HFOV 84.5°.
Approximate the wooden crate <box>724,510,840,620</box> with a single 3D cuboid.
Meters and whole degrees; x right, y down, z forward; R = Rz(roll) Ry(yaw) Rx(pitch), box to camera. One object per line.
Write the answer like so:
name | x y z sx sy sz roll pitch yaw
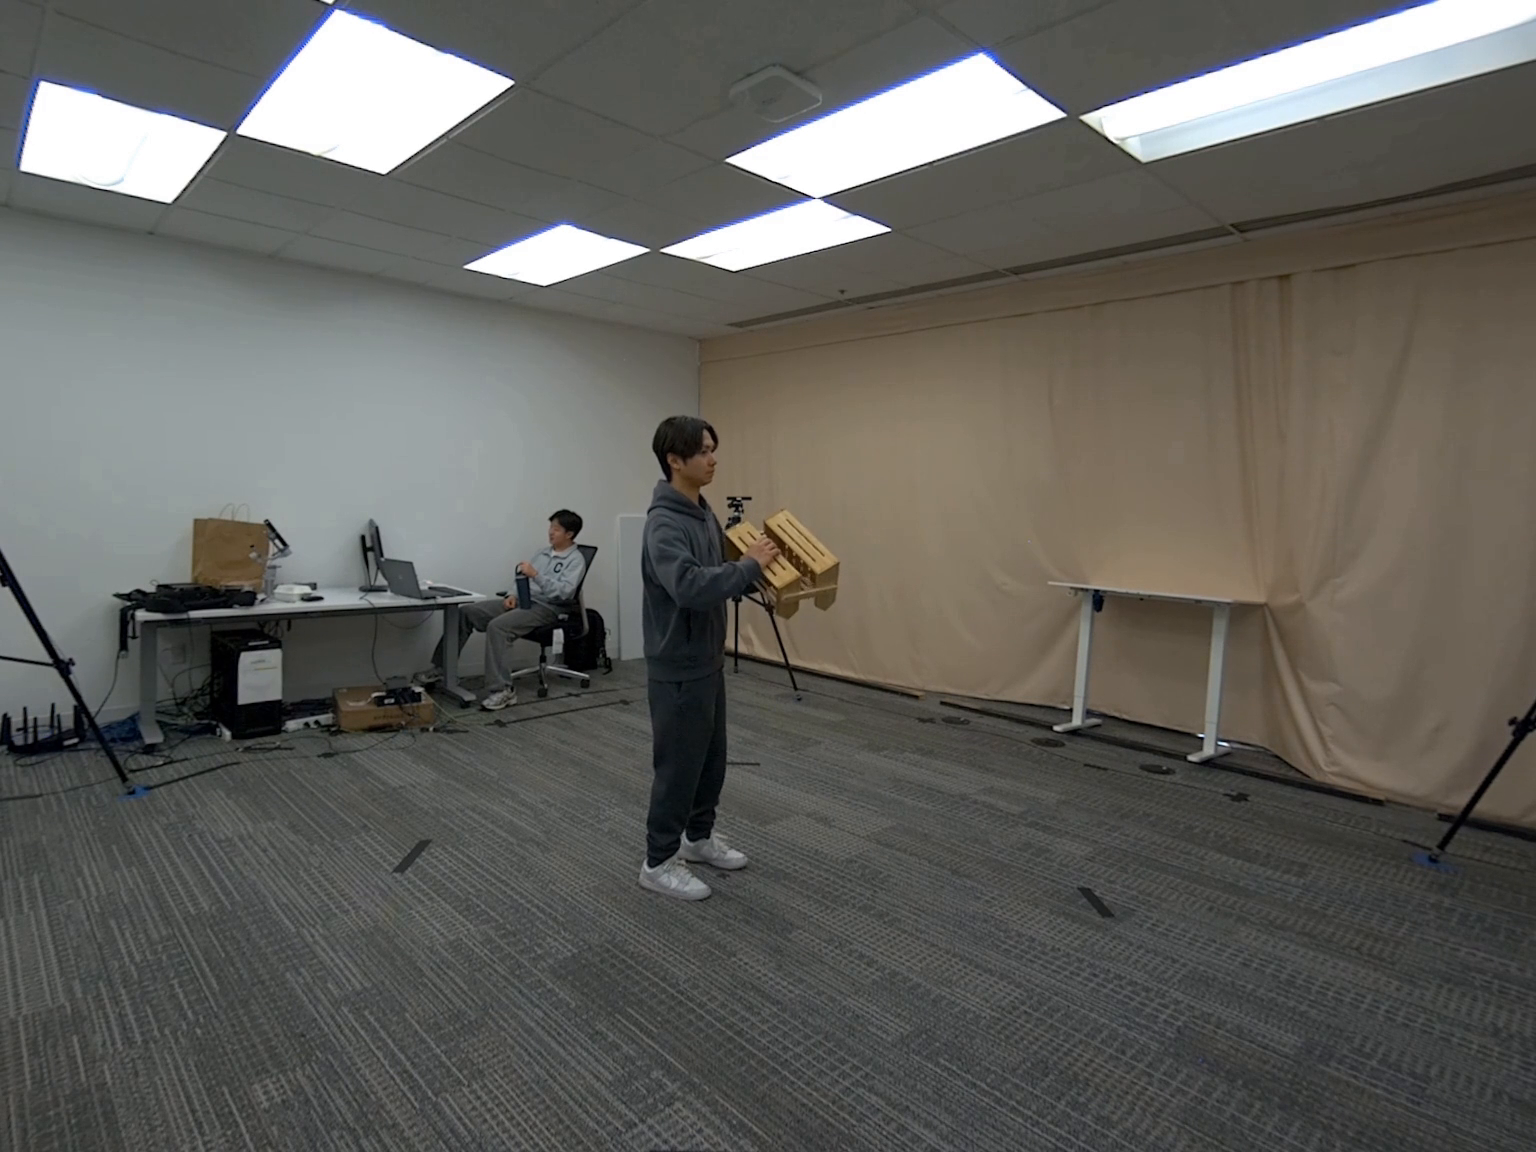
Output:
wooden crate | 0.035 -0.020 2.907 0.271 0.295 0.334 -29 56 -21
